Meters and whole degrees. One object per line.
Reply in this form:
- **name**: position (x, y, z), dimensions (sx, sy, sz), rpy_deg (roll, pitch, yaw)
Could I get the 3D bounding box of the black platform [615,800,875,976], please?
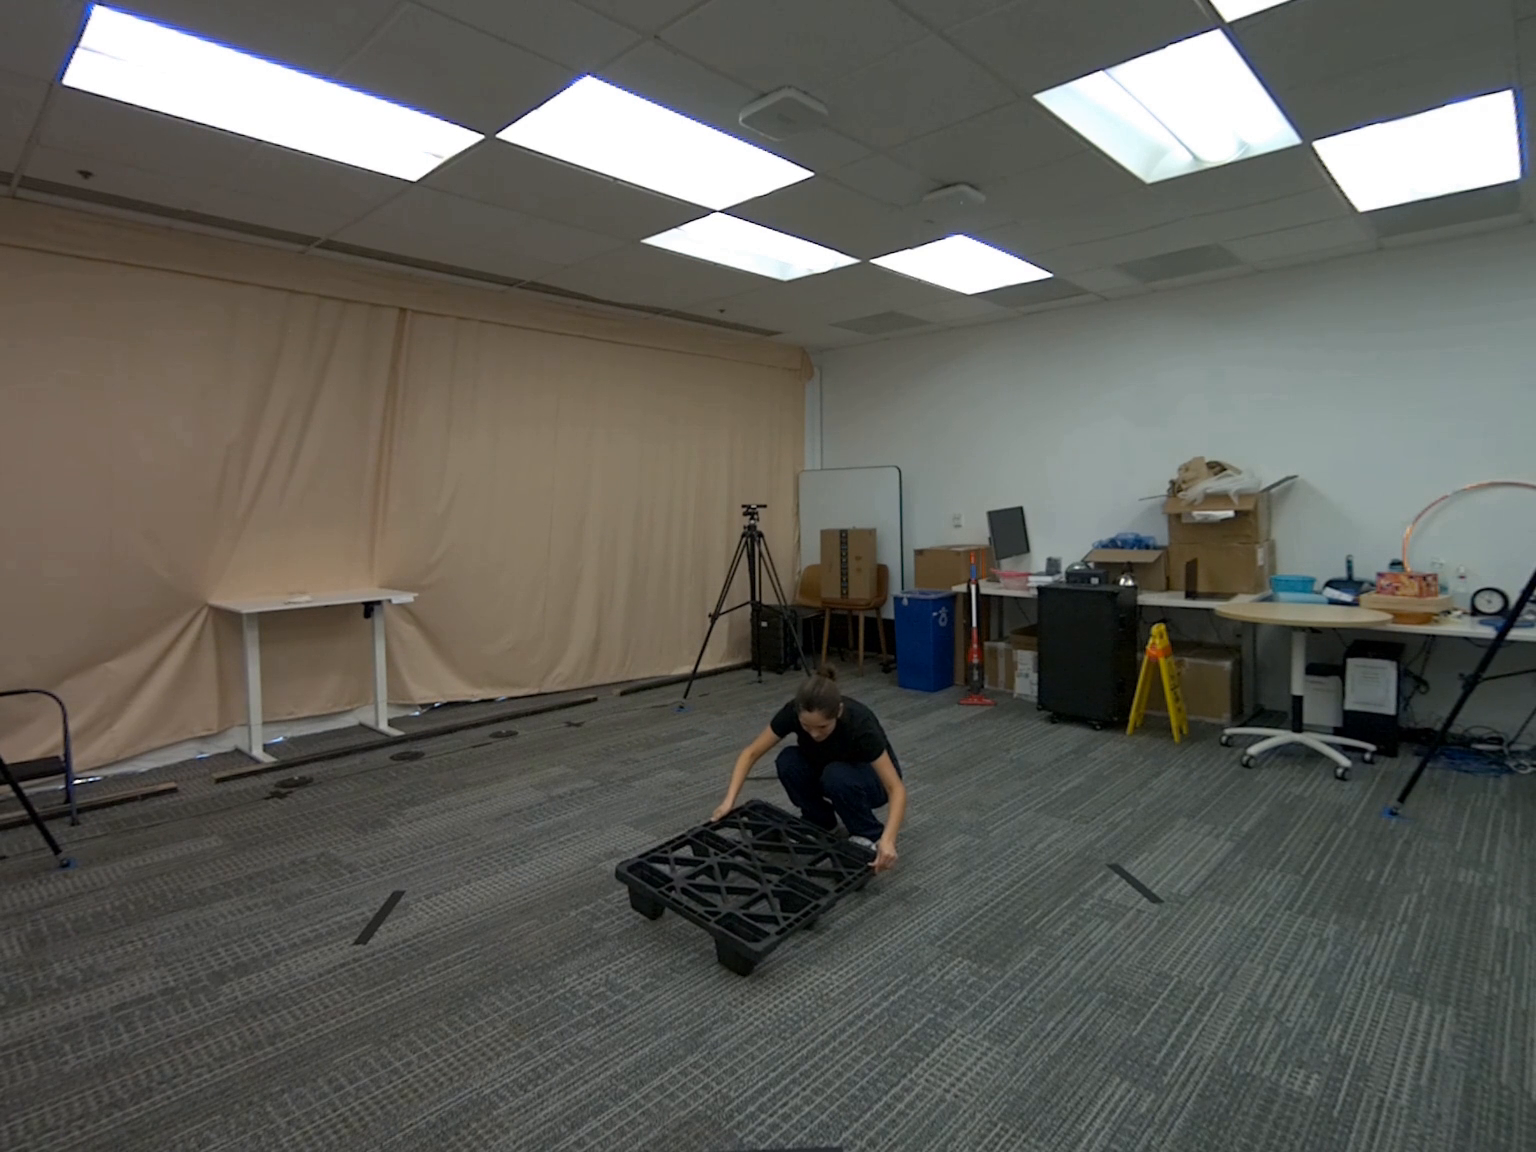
- **black platform**: position (-0.043, 1.046, 2.897), dimensions (0.626, 0.142, 0.782), rpy_deg (13, 12, 36)
